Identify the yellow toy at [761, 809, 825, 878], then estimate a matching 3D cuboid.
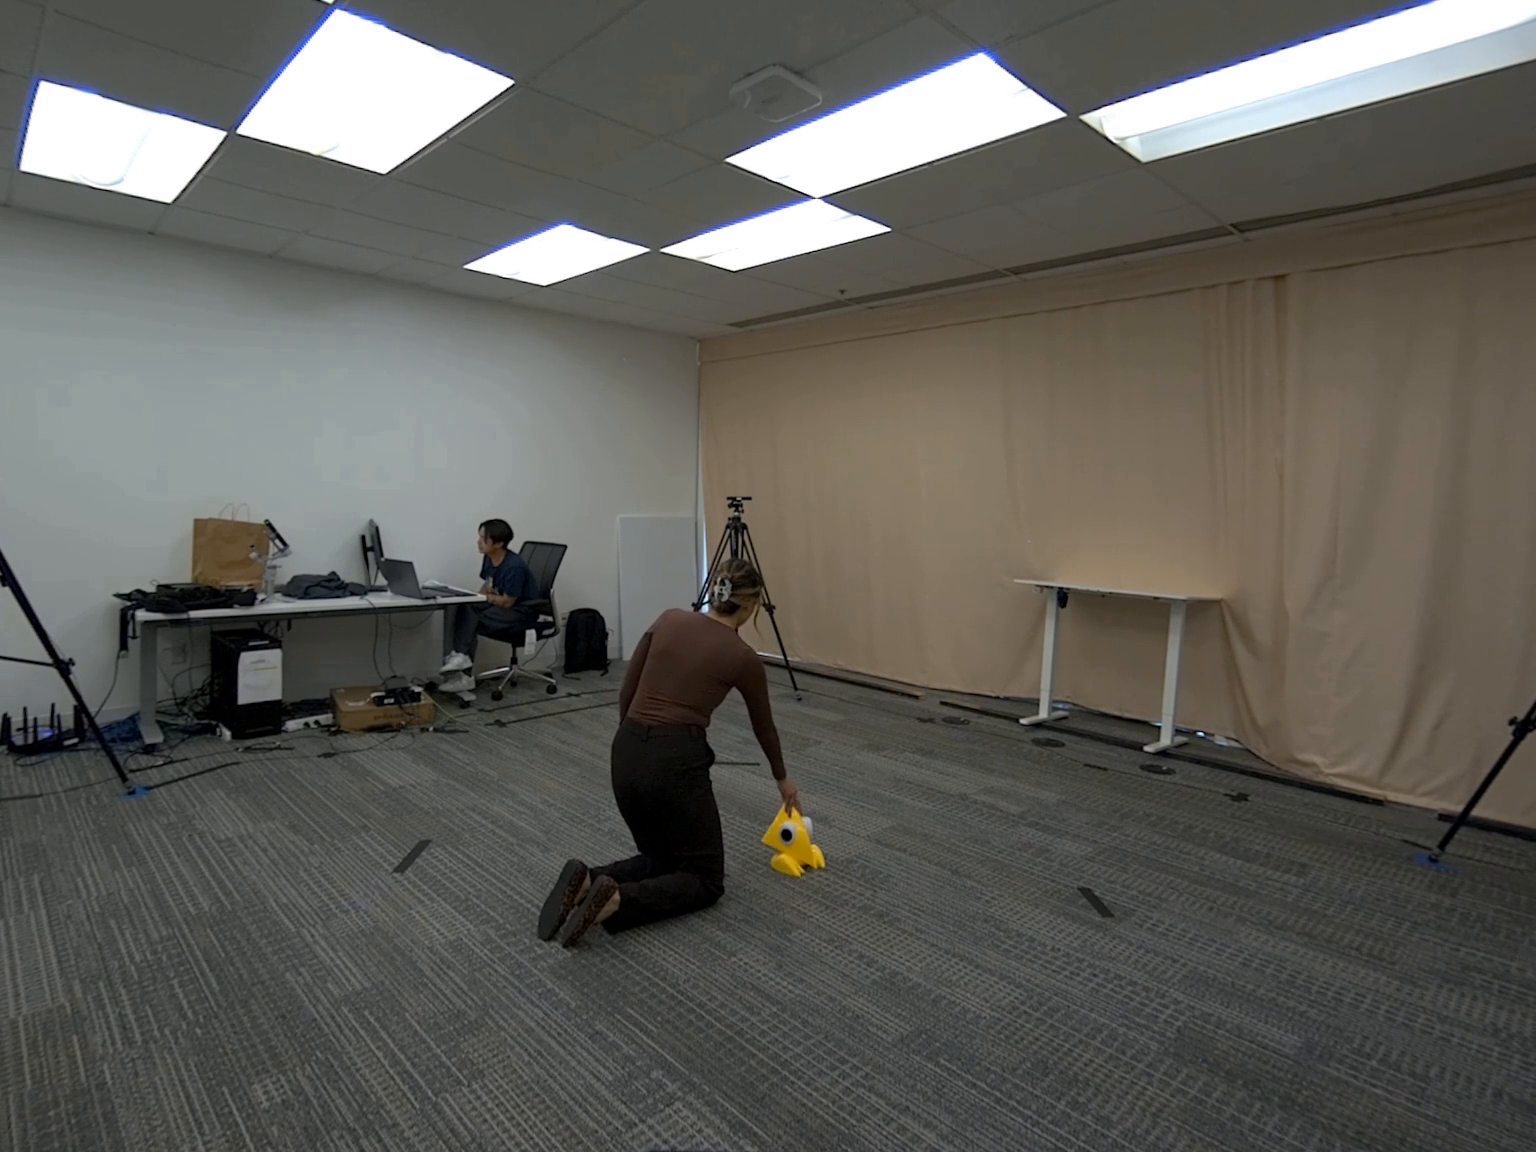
[{"bbox_3d":[0.101,0.990,3.214,0.200,0.230,0.198,-2,6,-40],"label":"yellow toy"}]
